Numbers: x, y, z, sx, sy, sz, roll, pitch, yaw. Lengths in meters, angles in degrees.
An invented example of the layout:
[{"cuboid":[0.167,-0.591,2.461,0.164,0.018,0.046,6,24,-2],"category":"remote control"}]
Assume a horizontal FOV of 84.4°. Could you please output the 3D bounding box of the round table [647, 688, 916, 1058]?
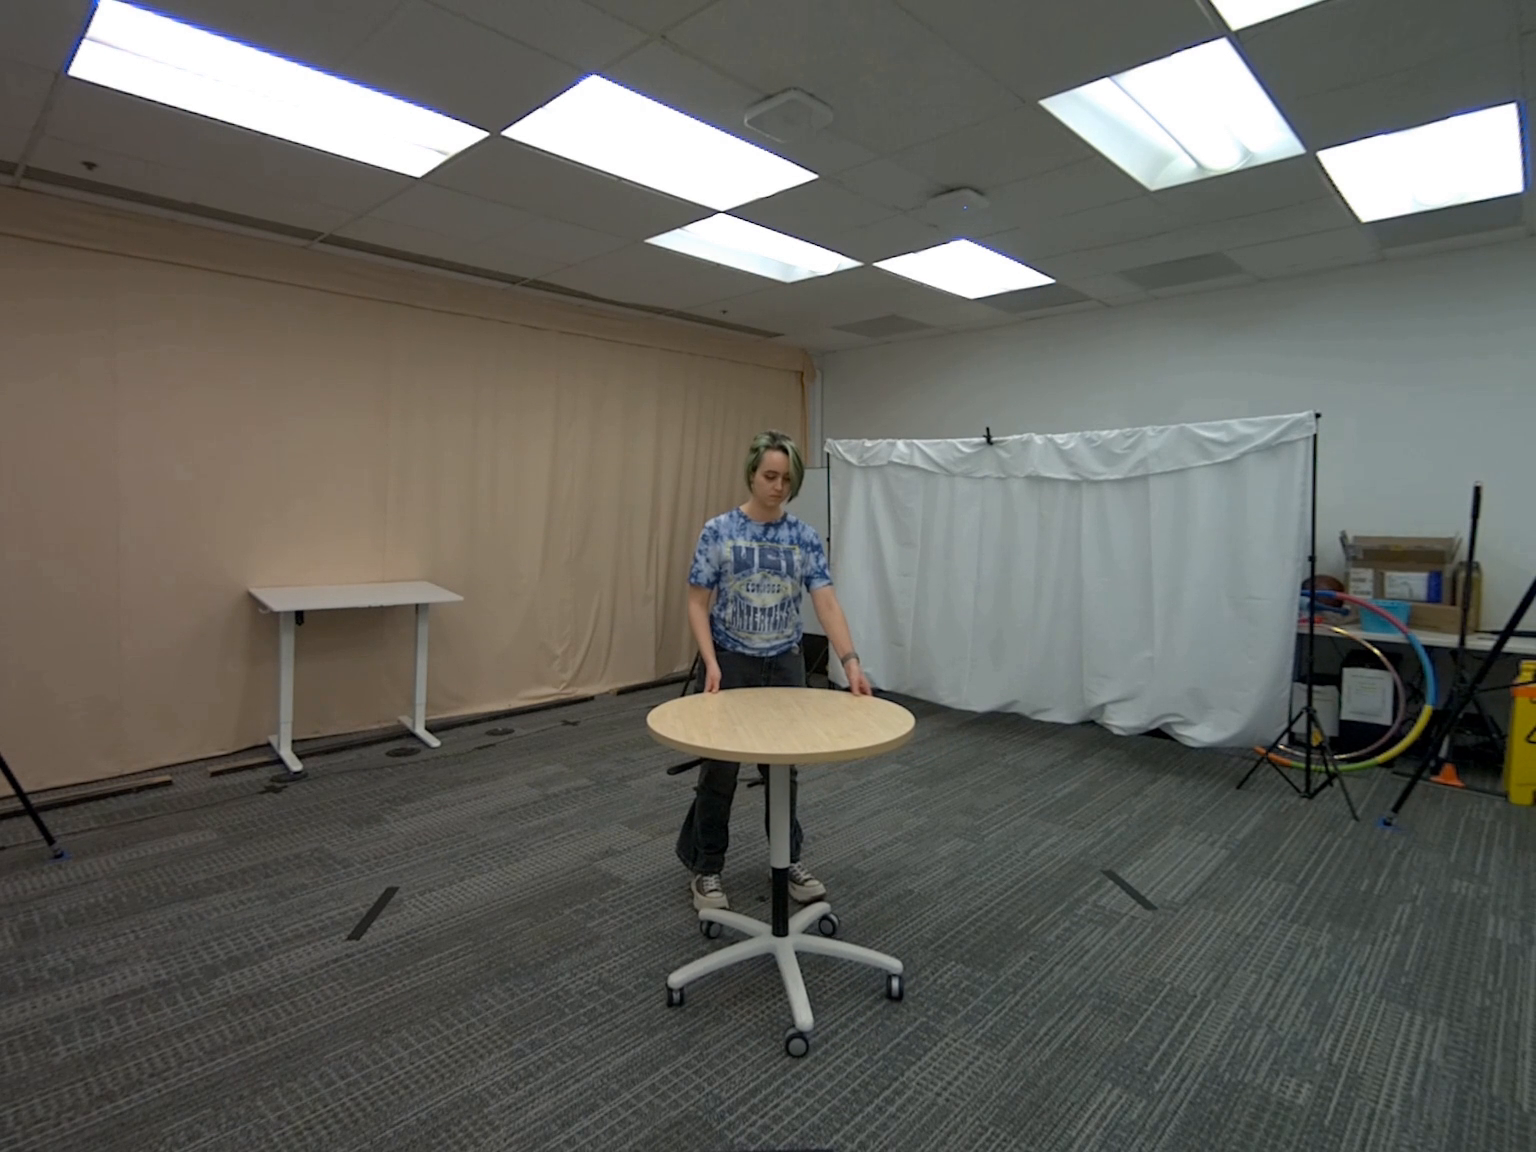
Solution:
[{"cuboid":[0.034,0.797,2.449,0.763,0.792,0.767,0,4,-2],"category":"round table"}]
